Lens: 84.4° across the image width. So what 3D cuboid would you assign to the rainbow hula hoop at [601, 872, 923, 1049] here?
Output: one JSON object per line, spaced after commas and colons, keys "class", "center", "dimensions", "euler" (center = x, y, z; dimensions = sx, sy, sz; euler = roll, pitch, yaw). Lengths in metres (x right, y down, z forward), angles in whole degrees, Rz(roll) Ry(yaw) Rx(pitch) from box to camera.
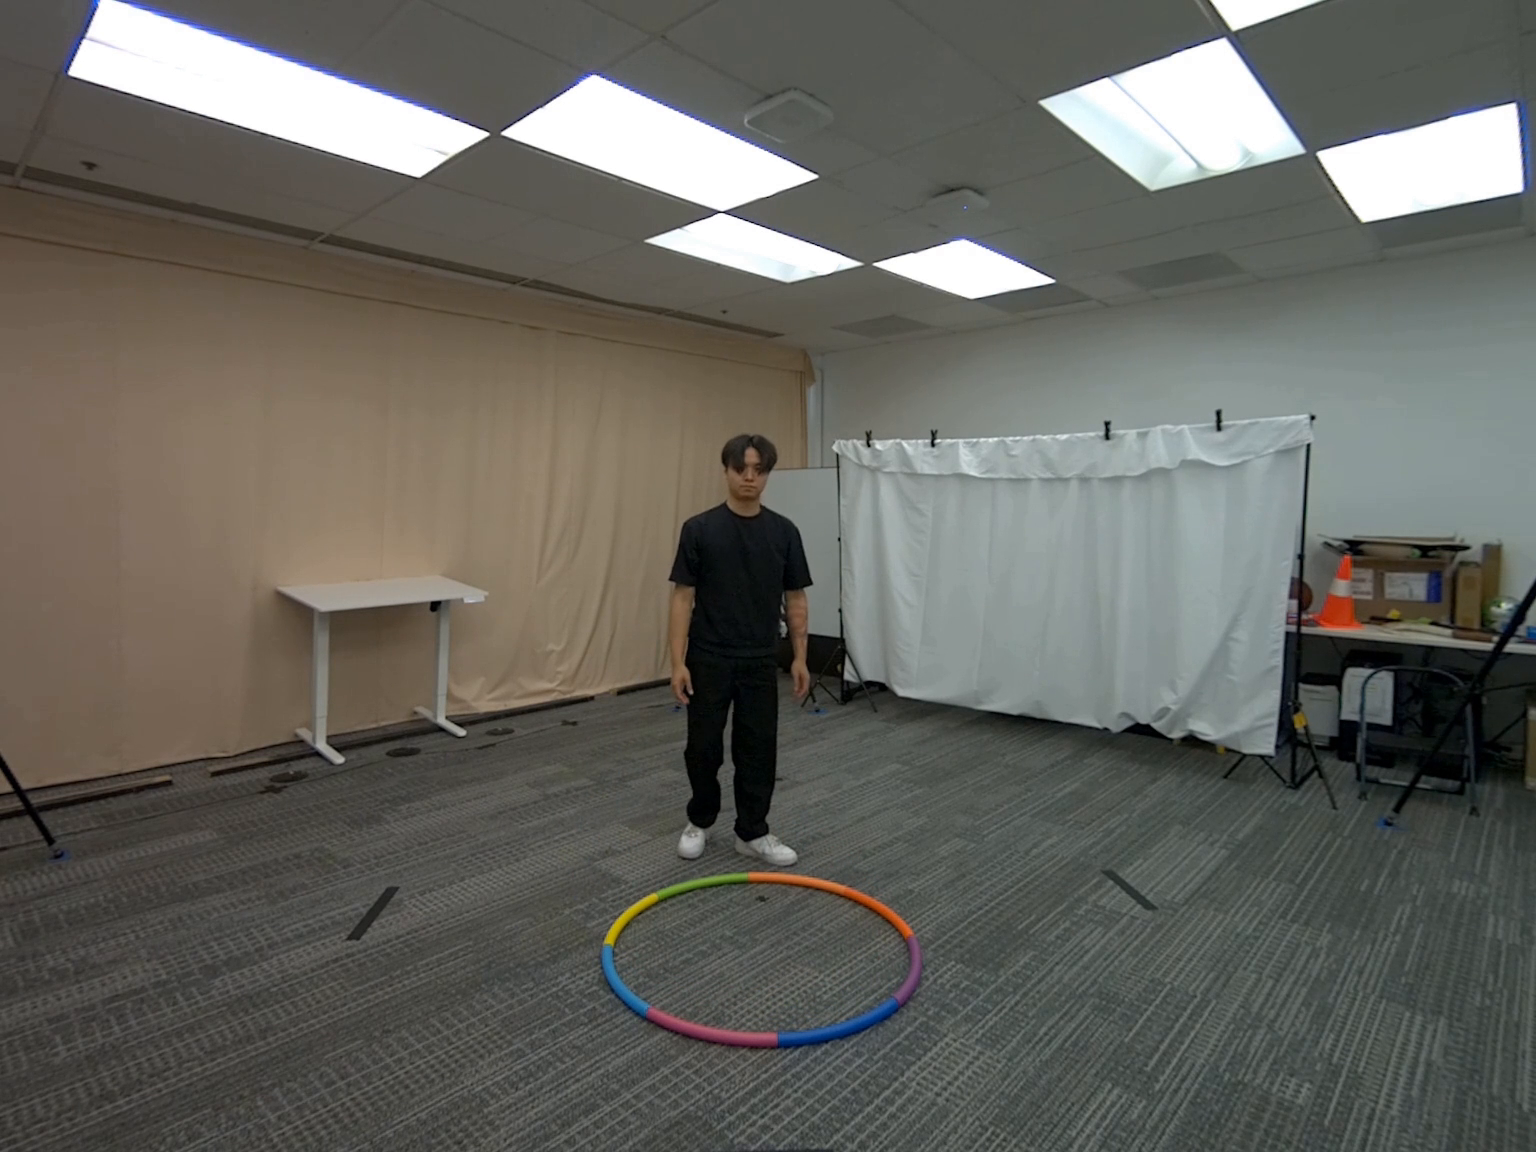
{"class": "rainbow hula hoop", "center": [-0.020, 1.142, 2.648], "dimensions": [0.978, 0.035, 0.982], "euler": [0, 4, -2]}
